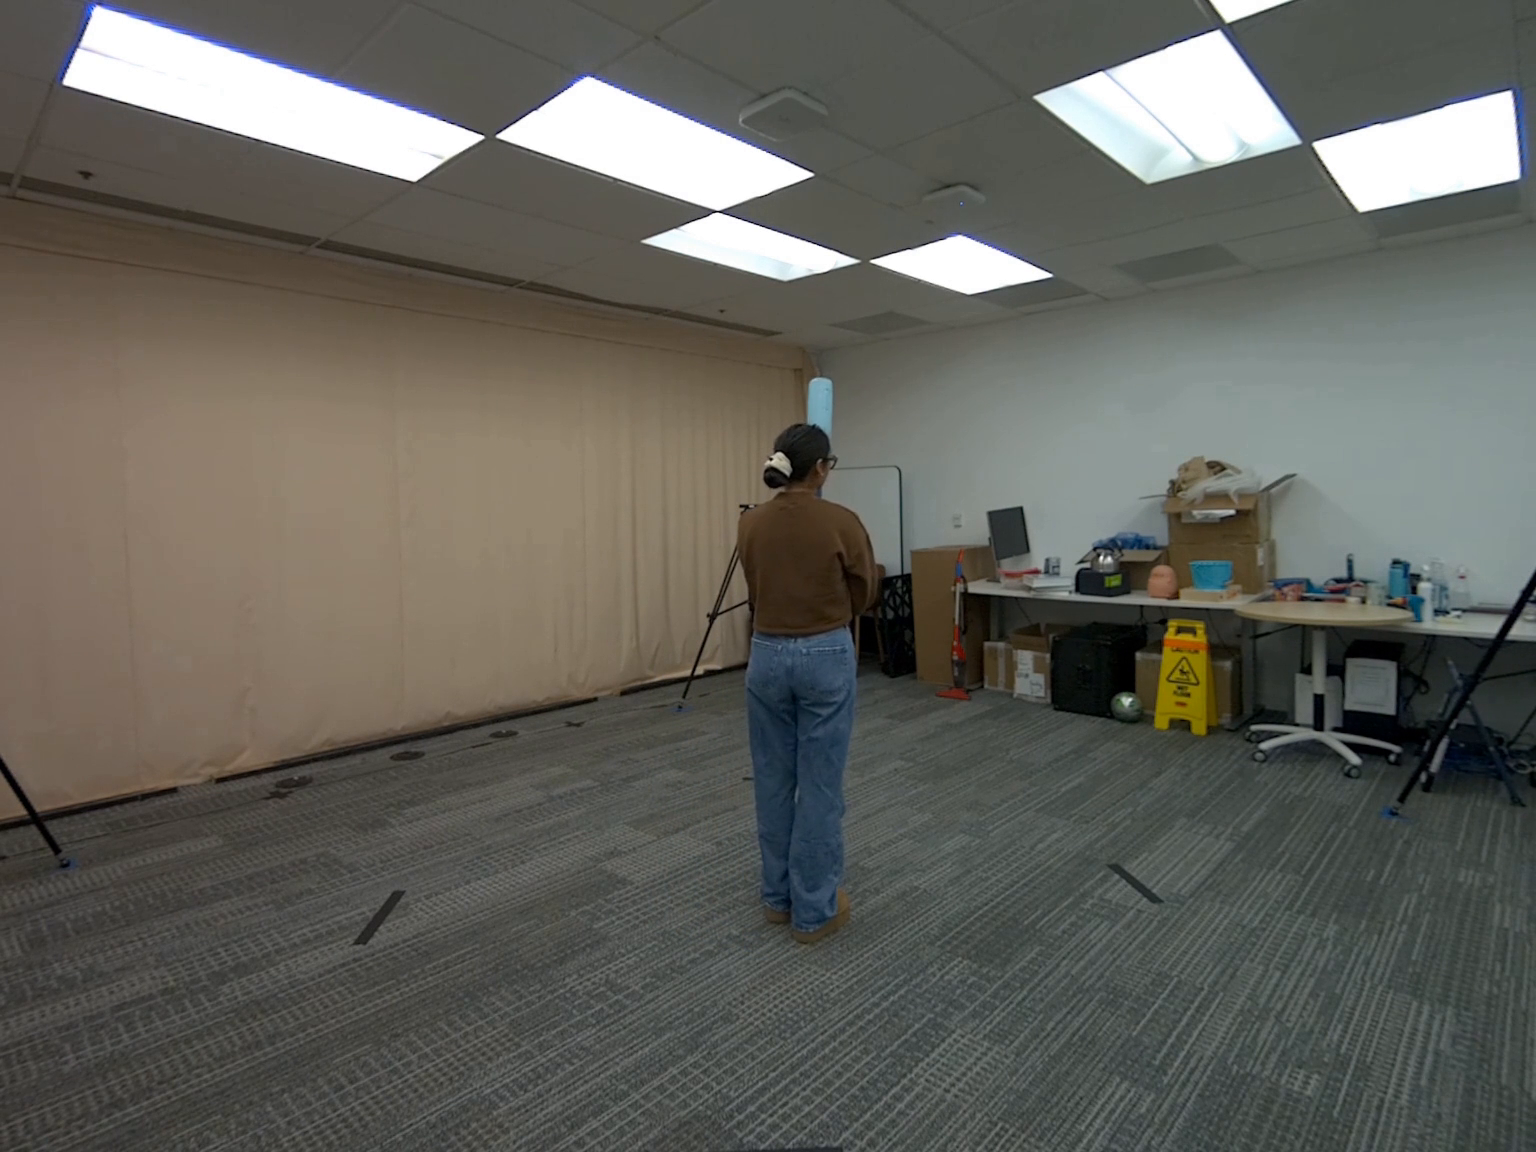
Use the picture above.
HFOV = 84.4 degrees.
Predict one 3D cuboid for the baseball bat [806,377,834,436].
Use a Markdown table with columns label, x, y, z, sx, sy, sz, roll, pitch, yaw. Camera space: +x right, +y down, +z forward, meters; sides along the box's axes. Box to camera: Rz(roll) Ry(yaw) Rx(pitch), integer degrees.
| label | x | y | z | sx | sy | sz | roll | pitch | yaw |
| --- | --- | --- | --- | --- | --- | --- | --- | --- | --- |
| baseball bat | 0.182 | -0.441 | 2.974 | 0.089 | 0.547 | 0.088 | 2 | -13 | -1 |
